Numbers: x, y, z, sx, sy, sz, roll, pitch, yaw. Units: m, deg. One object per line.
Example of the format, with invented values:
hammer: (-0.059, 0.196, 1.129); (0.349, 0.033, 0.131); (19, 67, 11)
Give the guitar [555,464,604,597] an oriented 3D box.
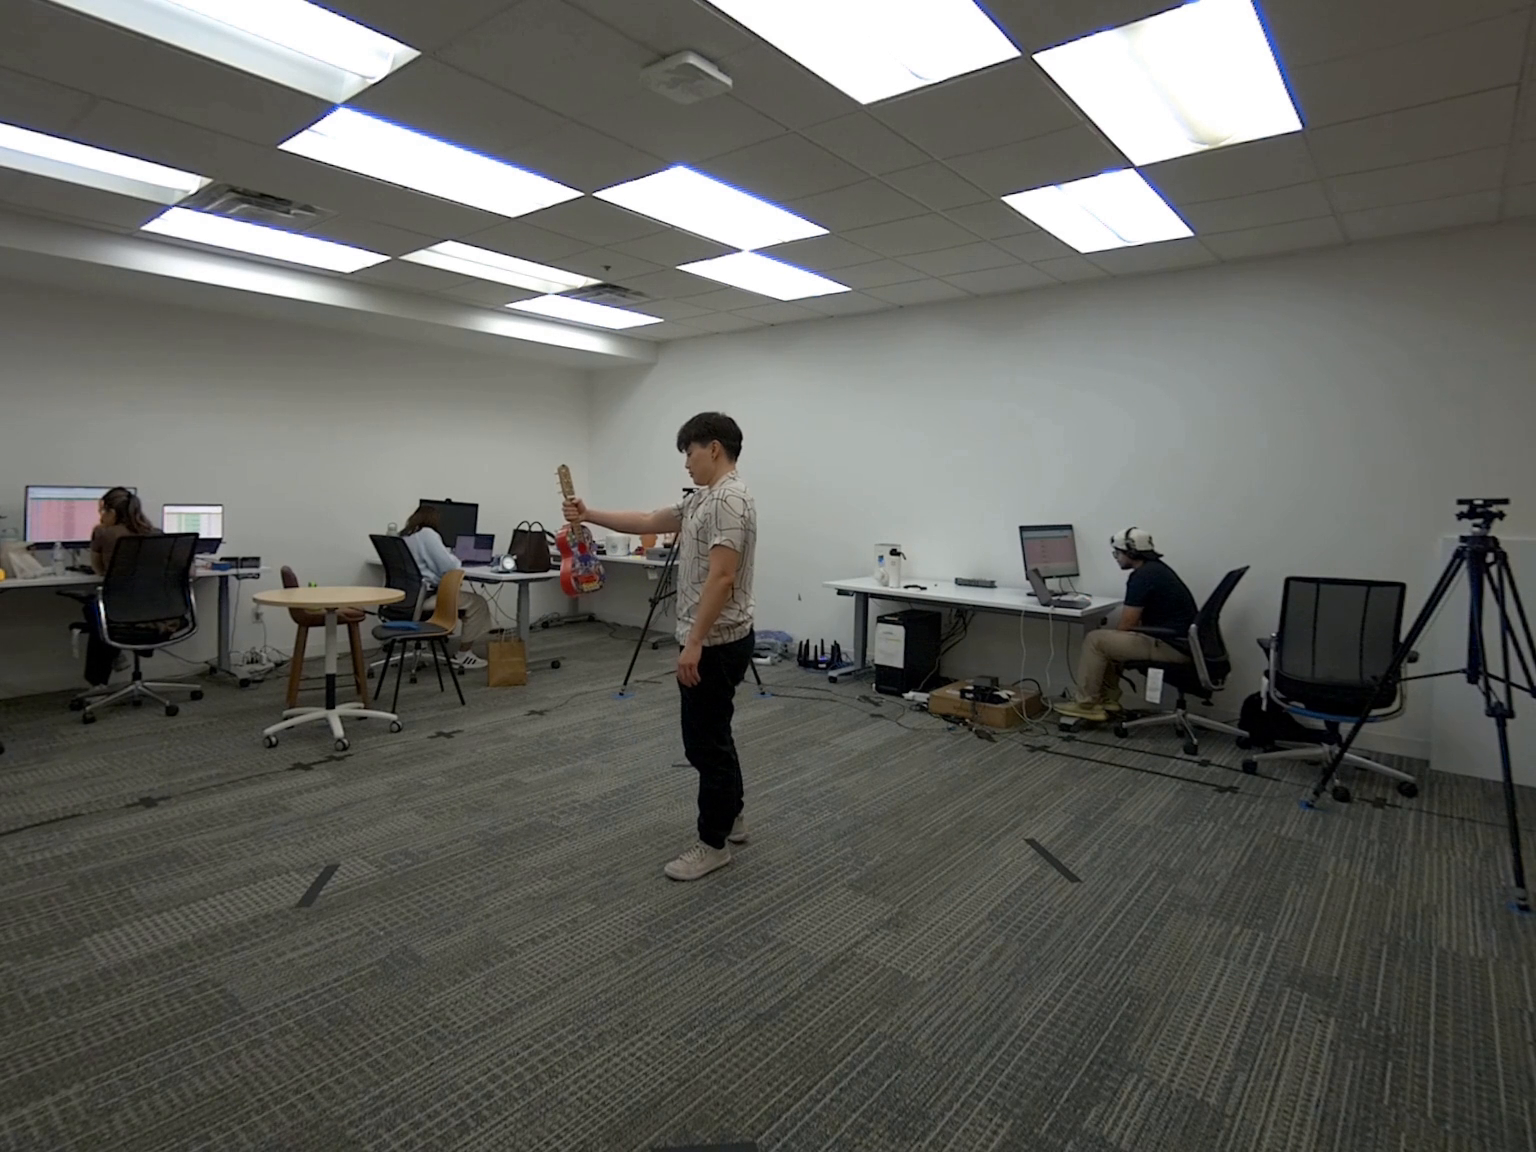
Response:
guitar: (-0.741, -0.177, 3.268); (0.072, 0.501, 0.187); (-12, -7, 32)
